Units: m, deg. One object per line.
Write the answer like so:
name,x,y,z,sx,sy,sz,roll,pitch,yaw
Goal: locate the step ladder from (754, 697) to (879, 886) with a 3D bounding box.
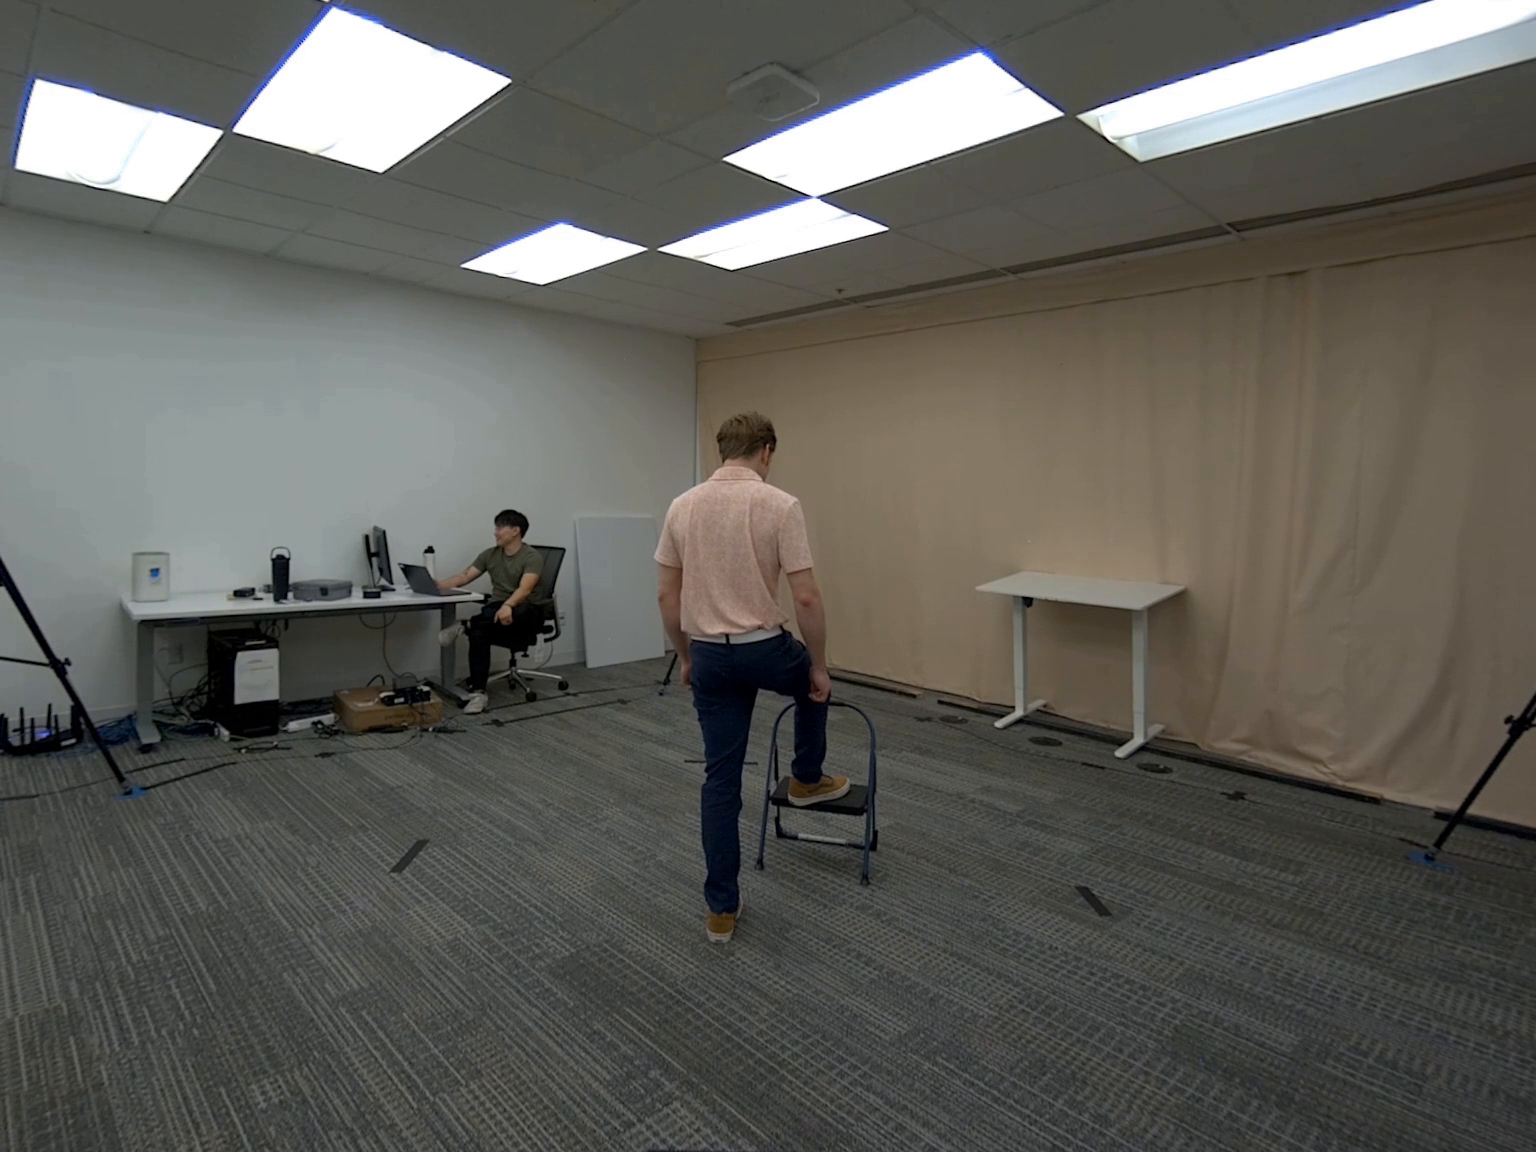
step ladder,0.201,0.798,3.254,0.436,0.605,0.345,2,3,15
